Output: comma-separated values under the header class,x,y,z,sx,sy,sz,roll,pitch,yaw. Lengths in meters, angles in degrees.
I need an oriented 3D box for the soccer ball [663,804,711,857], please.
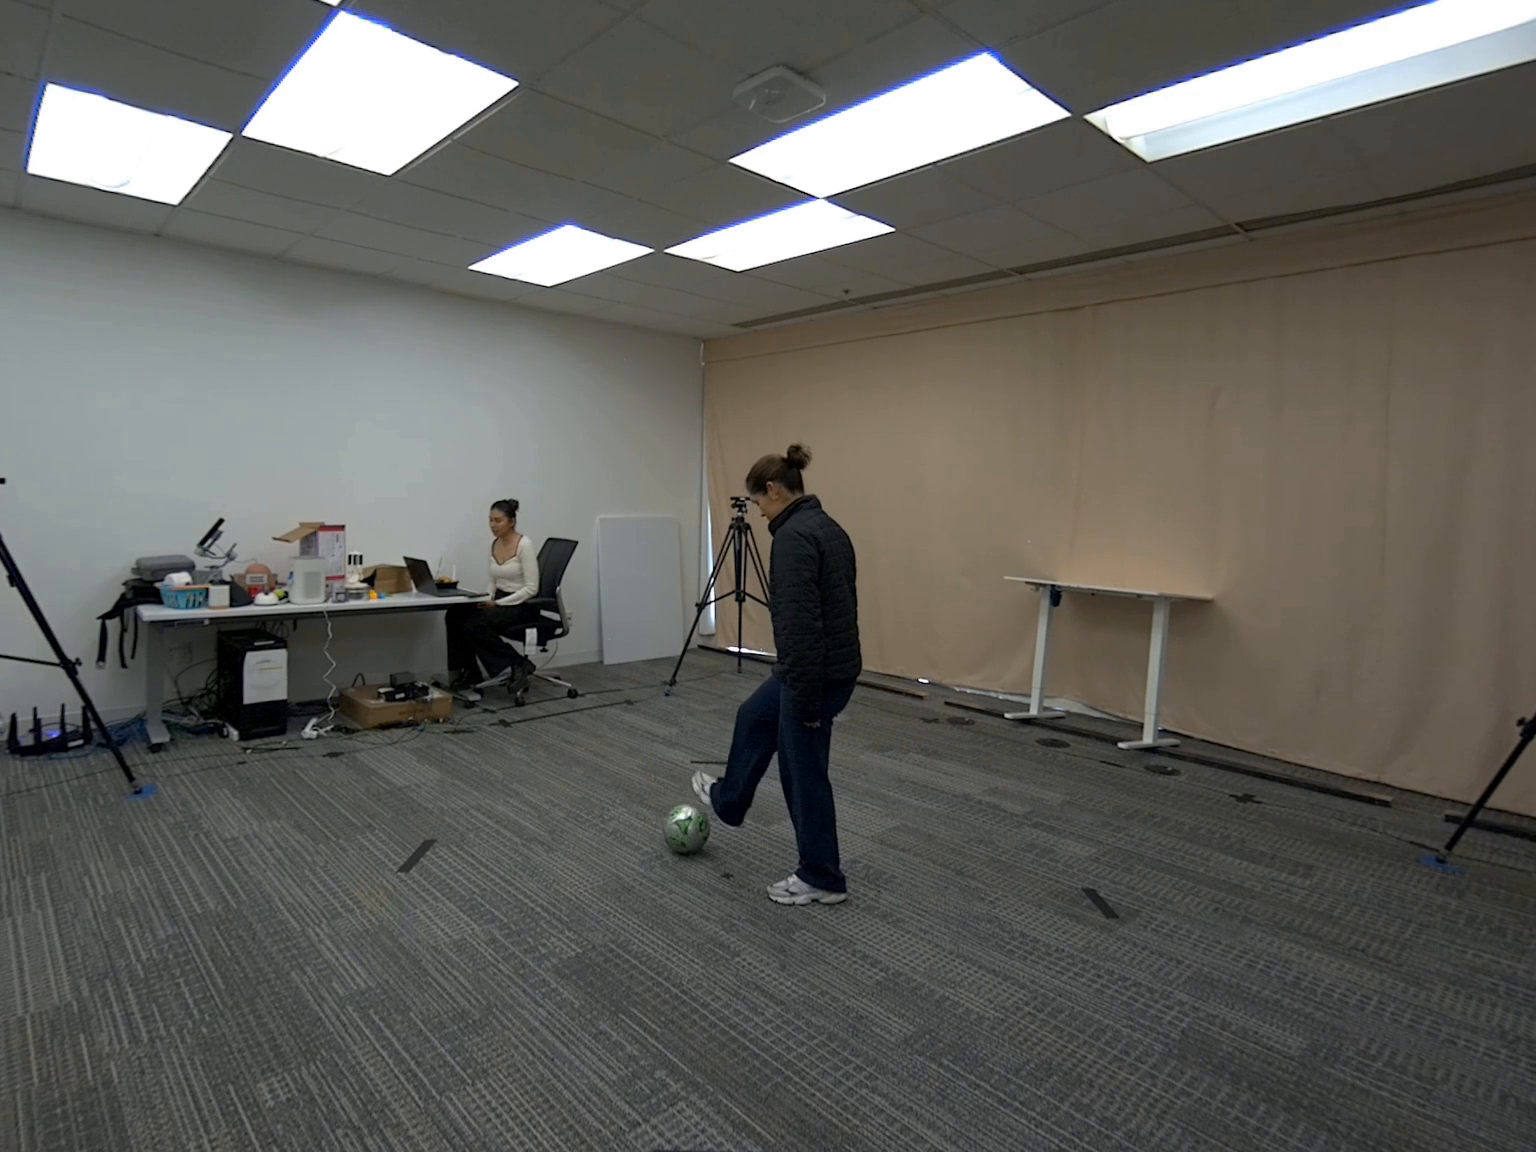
class,x,y,z,sx,sy,sz,roll,pitch,yaw
soccer ball,-0.322,0.984,3.297,0.187,0.187,0.188,1,4,-1
